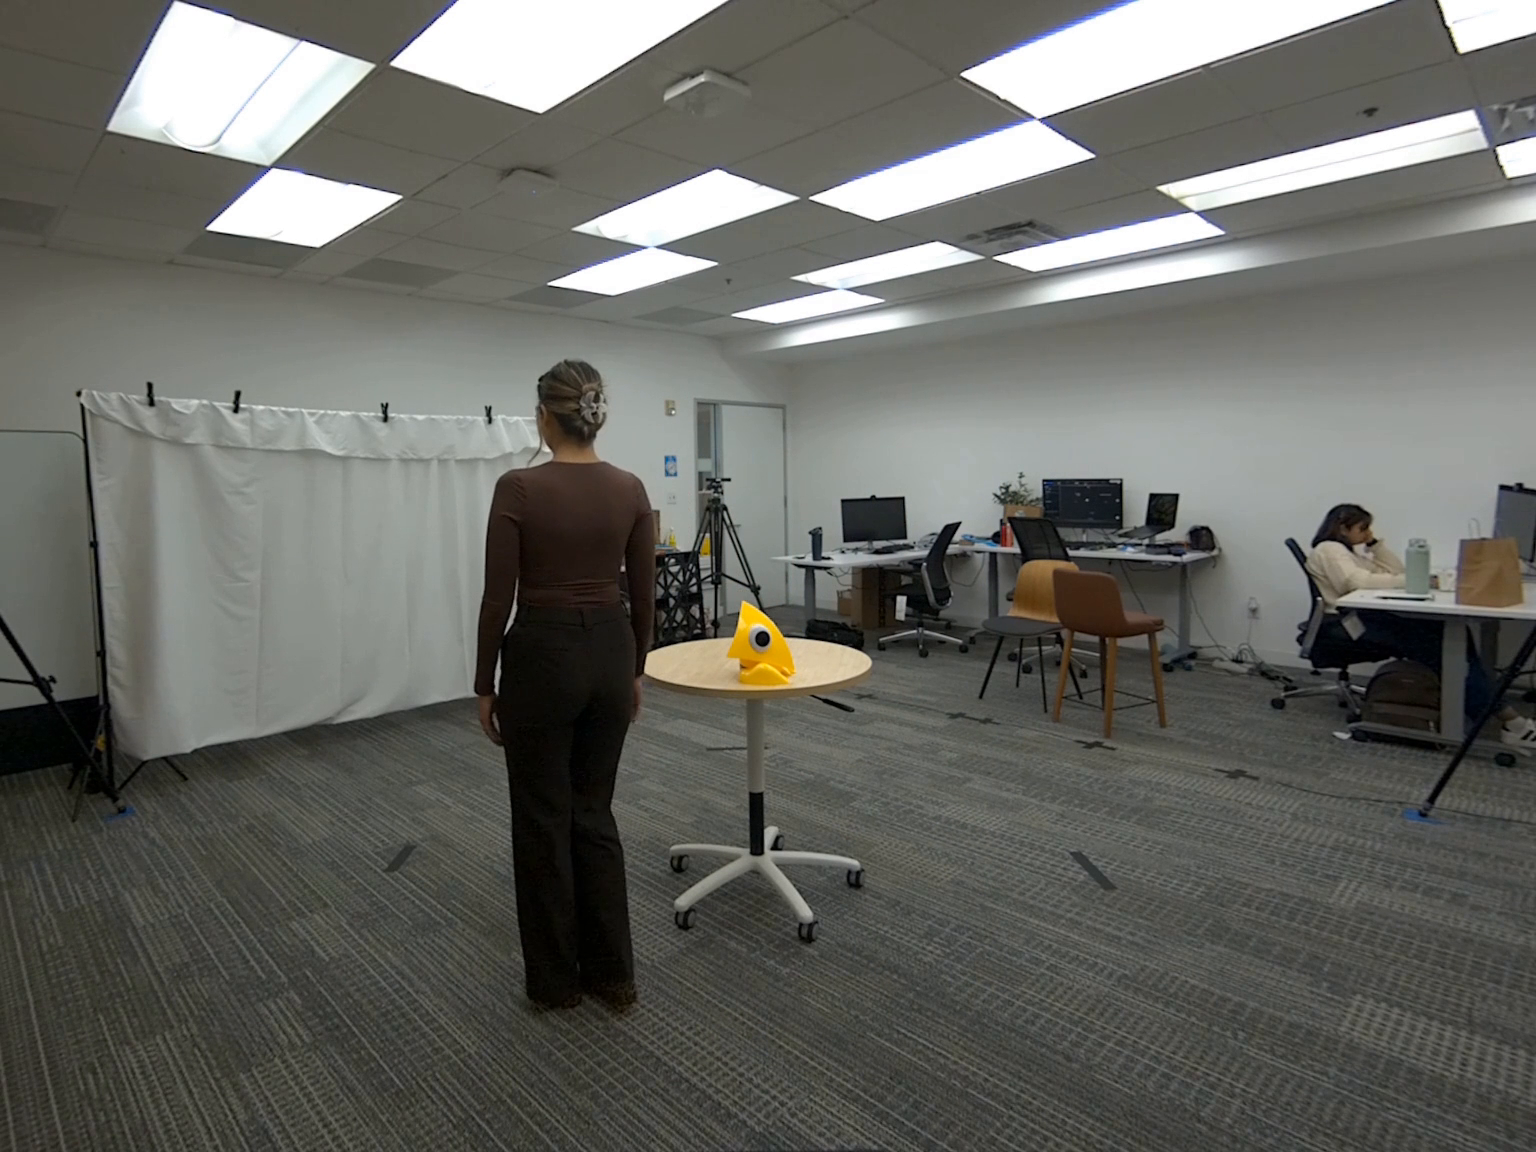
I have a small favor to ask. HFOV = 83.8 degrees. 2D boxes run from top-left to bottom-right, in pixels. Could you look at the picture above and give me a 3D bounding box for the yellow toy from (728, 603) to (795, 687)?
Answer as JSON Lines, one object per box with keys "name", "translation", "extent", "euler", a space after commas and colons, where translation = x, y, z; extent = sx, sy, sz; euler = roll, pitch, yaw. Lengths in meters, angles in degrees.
{"name": "yellow toy", "translation": [-0.011, 0.193, 2.584], "extent": [0.195, 0.230, 0.203], "euler": [0, 5, 12]}
